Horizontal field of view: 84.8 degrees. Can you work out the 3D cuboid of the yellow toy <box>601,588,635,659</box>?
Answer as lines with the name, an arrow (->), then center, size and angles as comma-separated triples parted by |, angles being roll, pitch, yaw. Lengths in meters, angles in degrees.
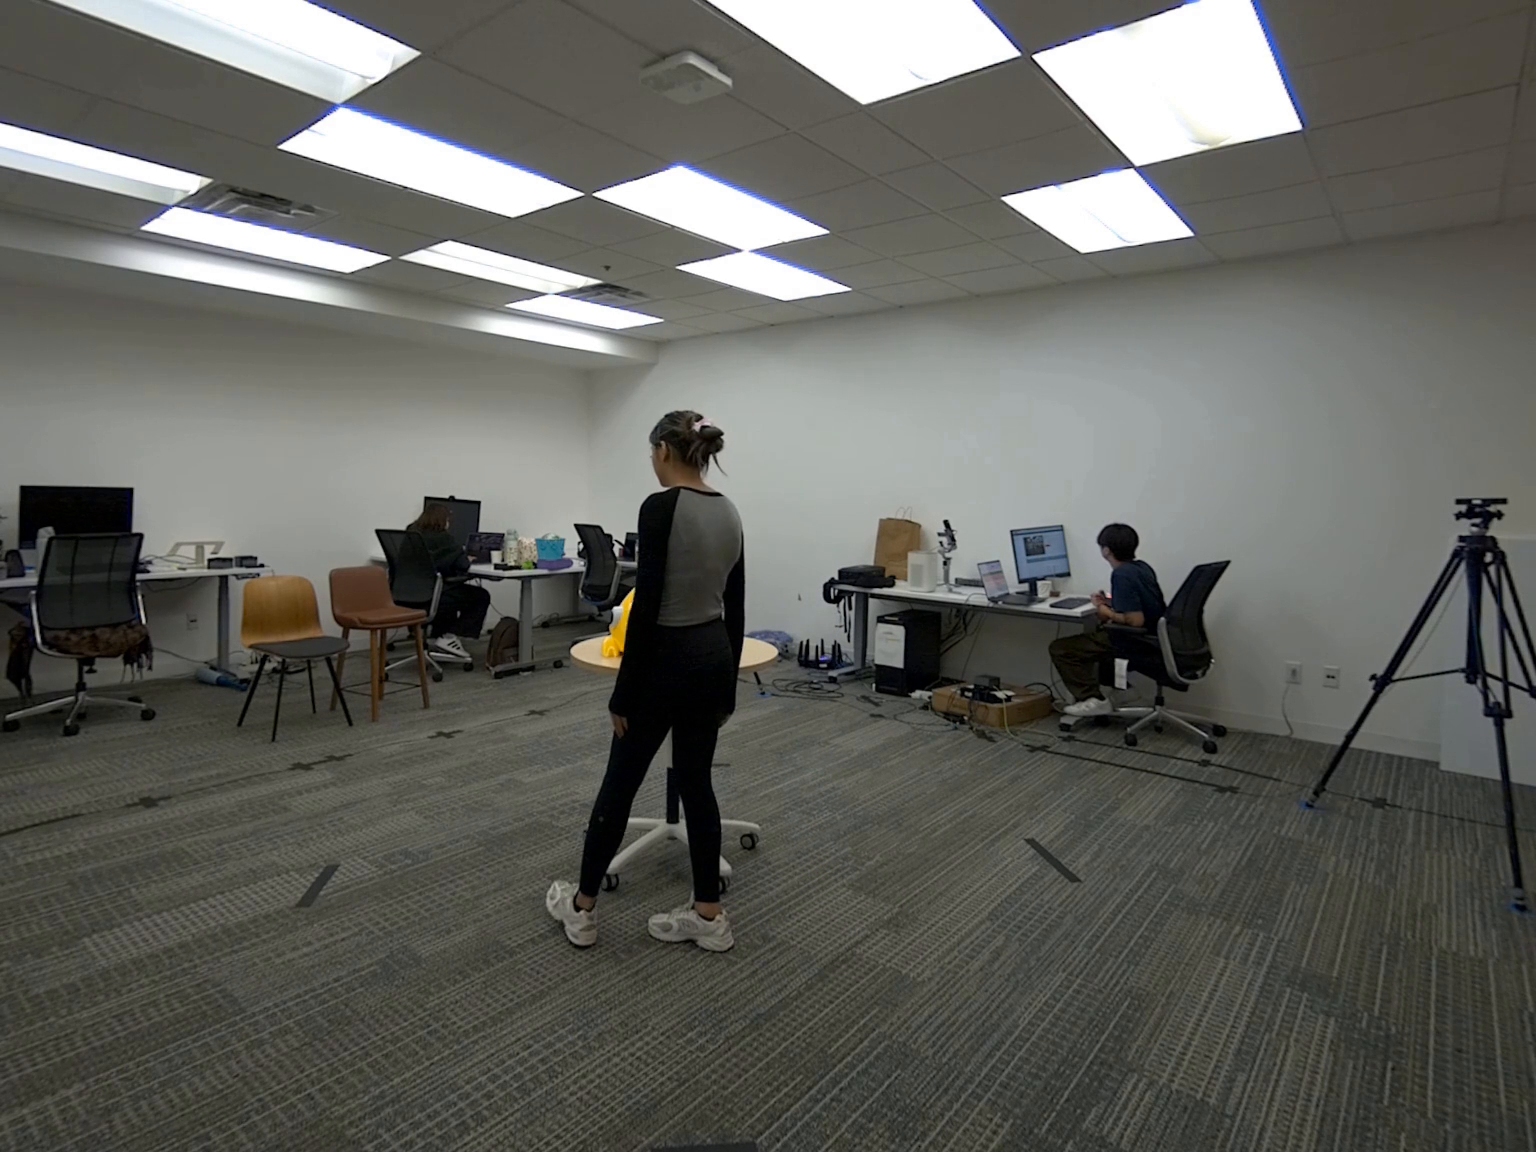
yellow toy -> -0.502, 0.161, 3.063 | 0.207, 0.230, 0.192 | 2, 4, 7
